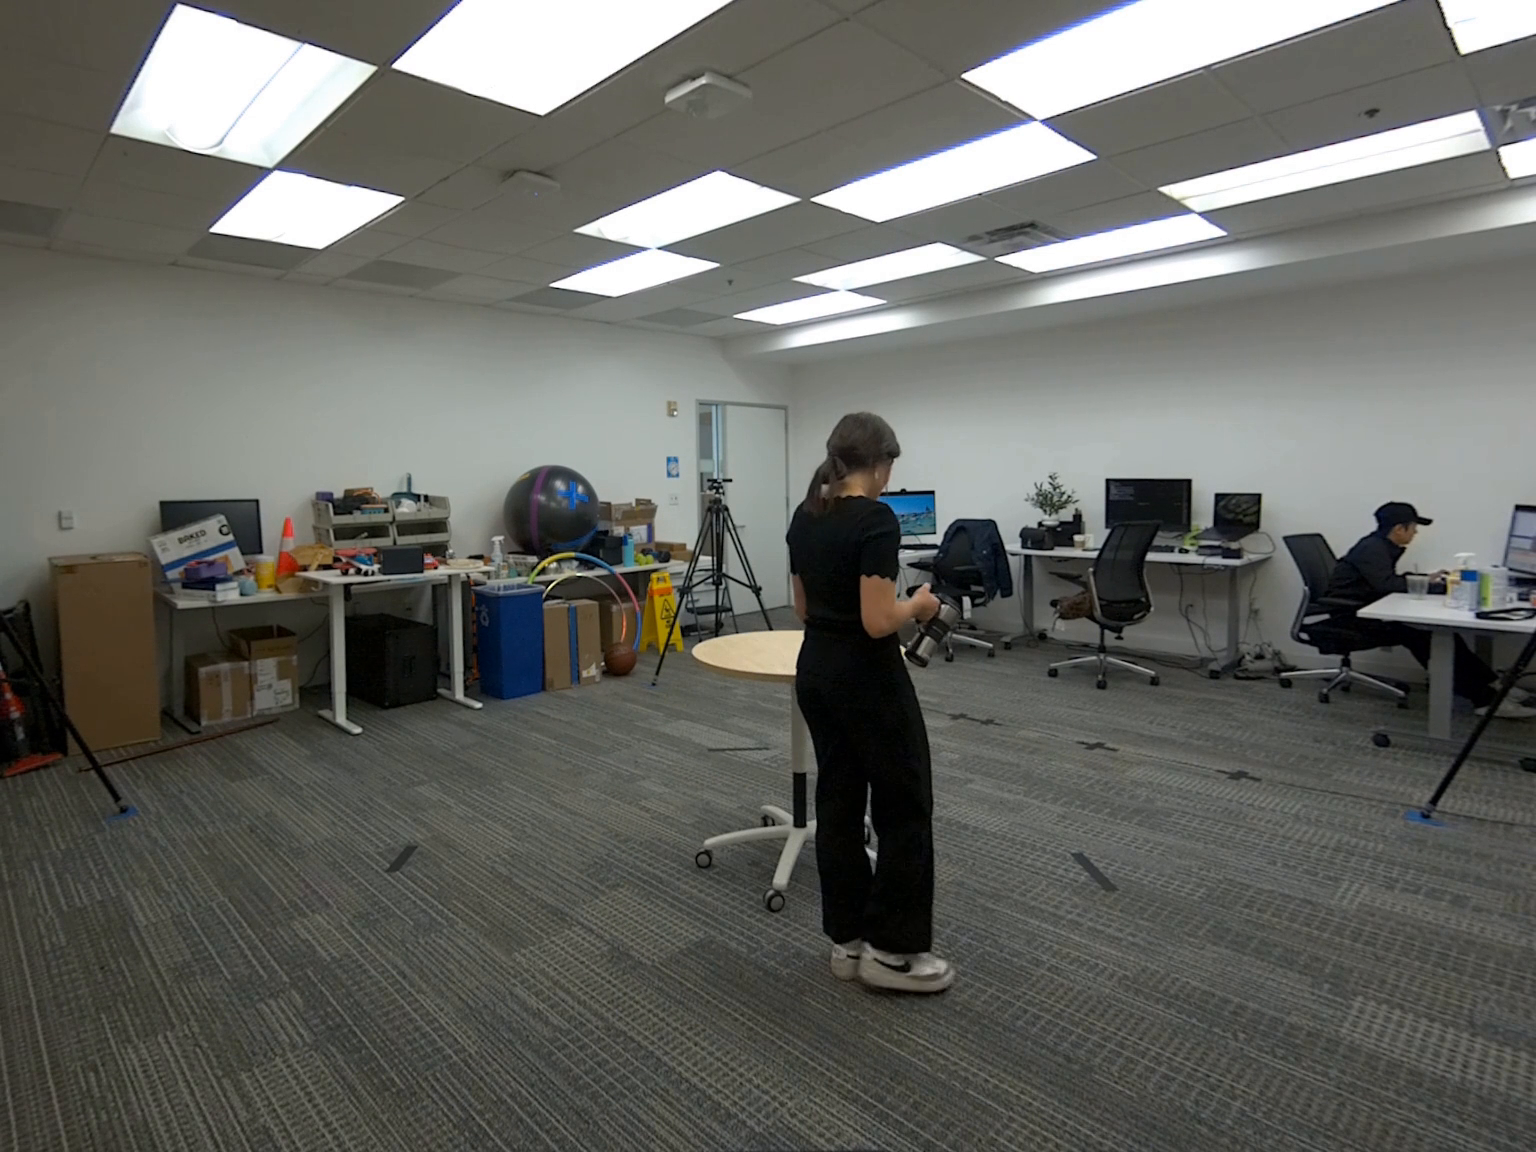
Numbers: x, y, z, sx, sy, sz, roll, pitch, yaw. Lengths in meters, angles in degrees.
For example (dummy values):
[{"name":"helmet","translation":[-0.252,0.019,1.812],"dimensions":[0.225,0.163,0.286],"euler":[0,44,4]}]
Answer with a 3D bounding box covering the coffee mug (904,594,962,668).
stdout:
[{"name":"coffee mug","translation":[0.450,0.147,2.409],"dimensions":[0.118,0.203,0.091],"euler":[43,-12,-30]}]
